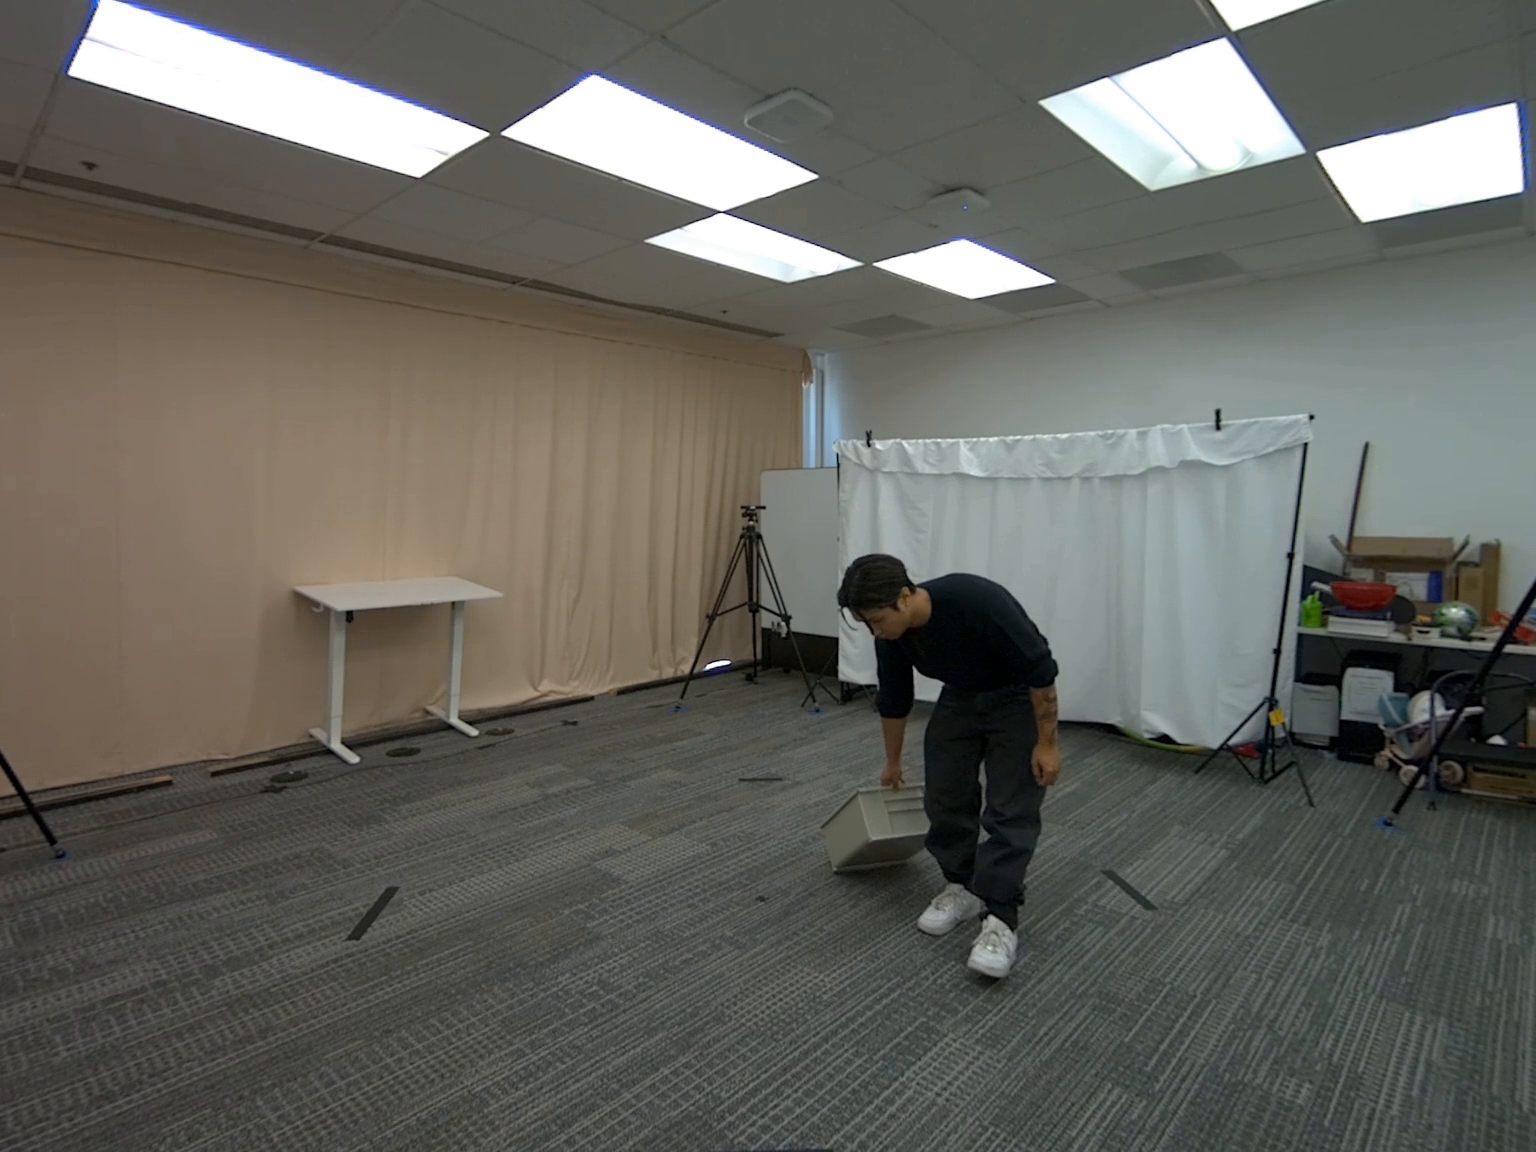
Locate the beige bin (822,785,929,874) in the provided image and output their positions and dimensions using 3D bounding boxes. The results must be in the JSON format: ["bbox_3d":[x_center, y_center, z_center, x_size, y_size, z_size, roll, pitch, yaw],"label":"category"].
[{"bbox_3d":[0.451,0.935,3.121,0.370,0.193,0.420,-2,-32,-19],"label":"beige bin"}]
